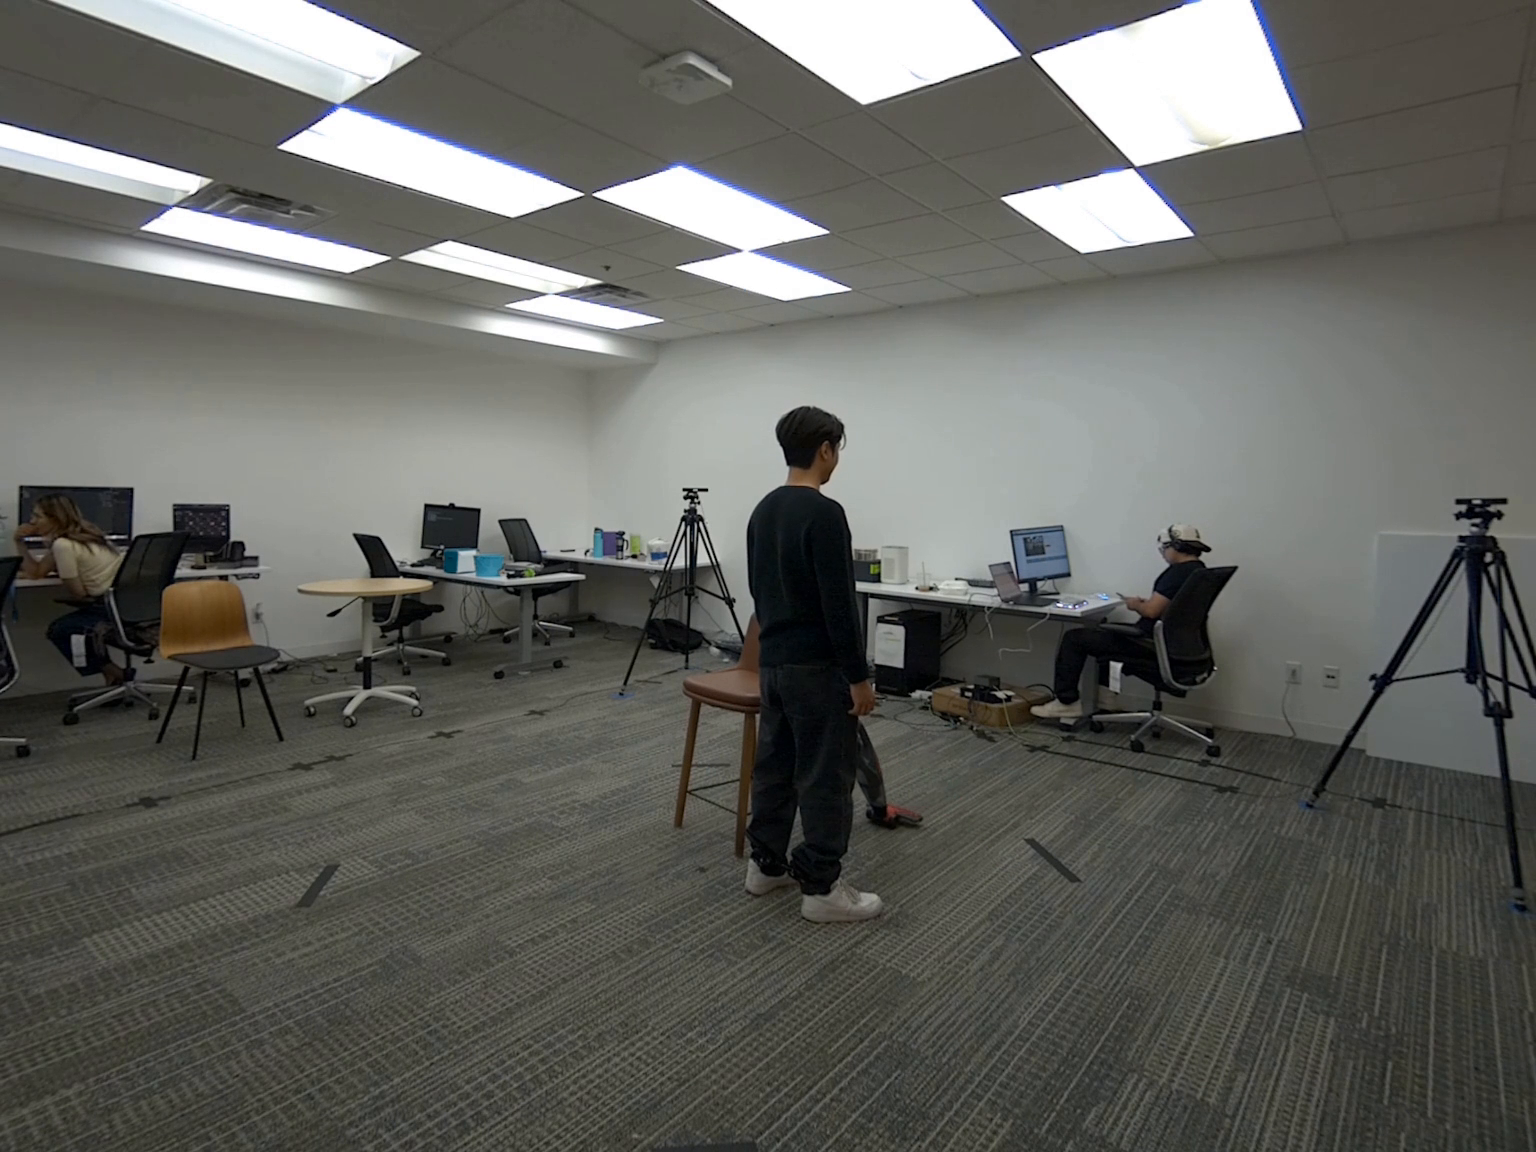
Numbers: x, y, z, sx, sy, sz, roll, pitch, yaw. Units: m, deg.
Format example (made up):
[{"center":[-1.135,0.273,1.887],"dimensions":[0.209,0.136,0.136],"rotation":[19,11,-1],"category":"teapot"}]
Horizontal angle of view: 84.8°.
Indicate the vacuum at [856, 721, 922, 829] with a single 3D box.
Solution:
[{"center":[0.336,0.609,3.371],"dimensions":[0.261,1.015,0.144],"rotation":[7,41,42],"category":"vacuum"}]
